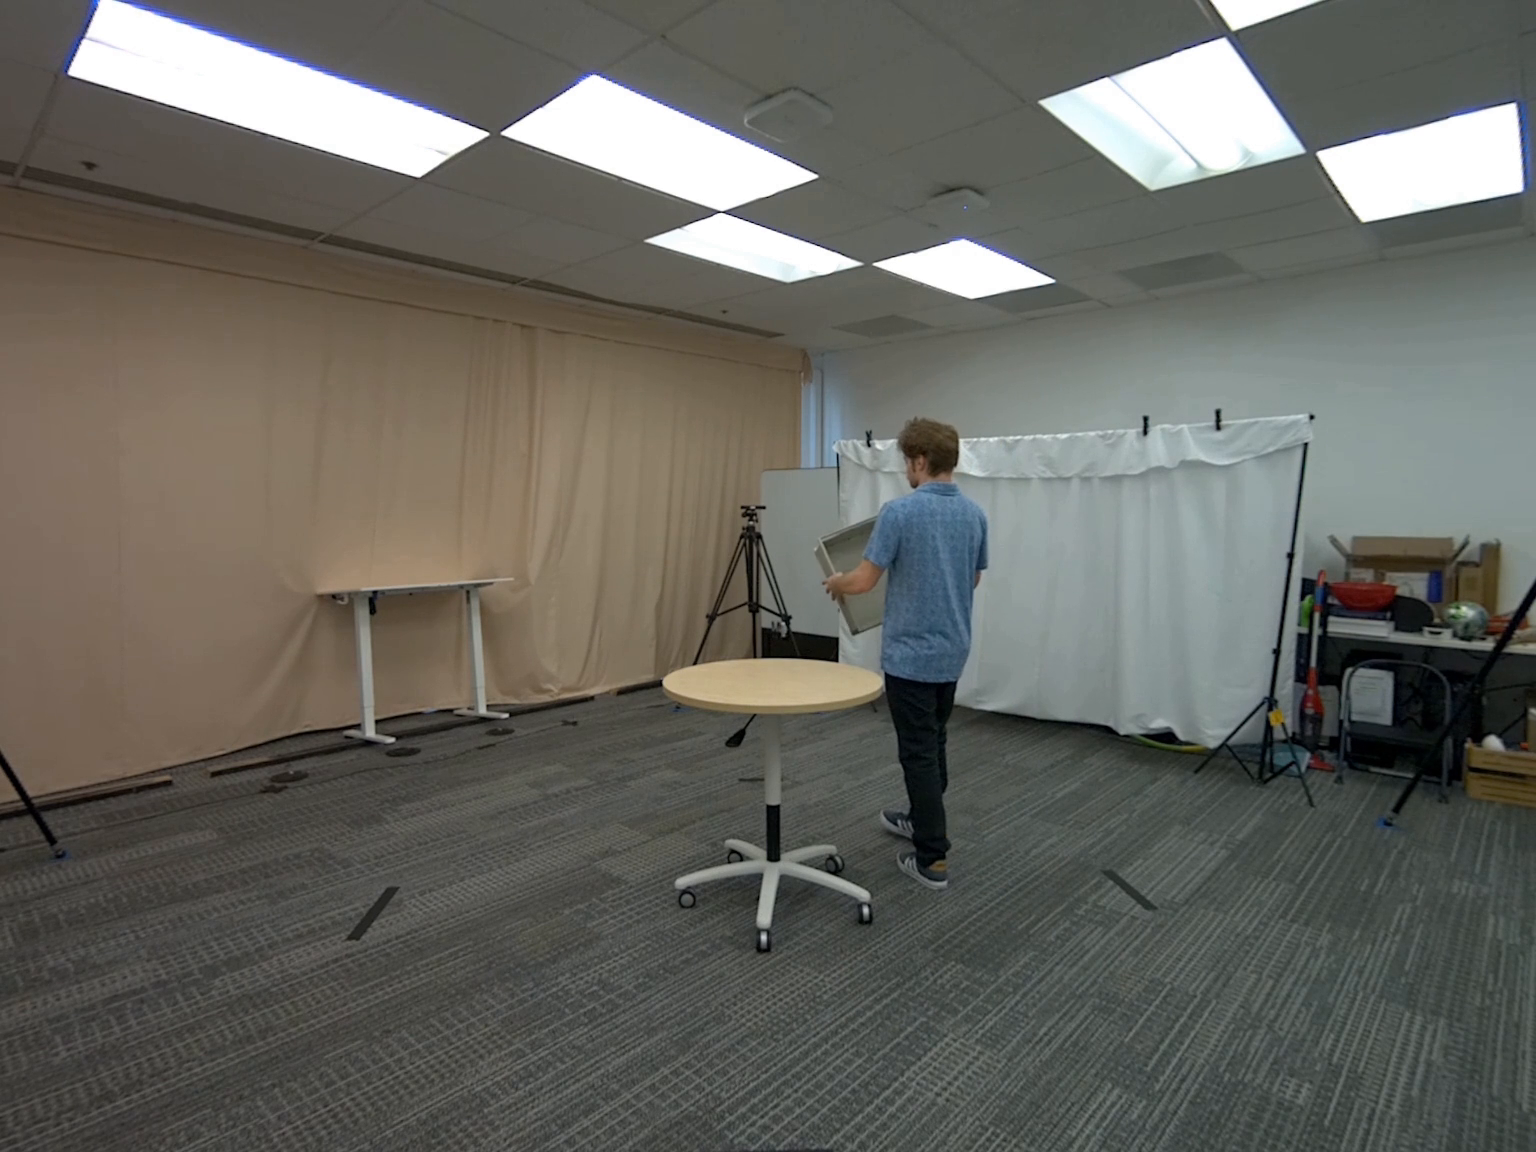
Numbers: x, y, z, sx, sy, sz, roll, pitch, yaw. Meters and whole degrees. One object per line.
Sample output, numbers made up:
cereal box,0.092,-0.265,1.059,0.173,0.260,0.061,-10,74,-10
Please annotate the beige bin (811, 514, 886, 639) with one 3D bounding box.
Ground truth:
beige bin,0.455,-0.017,3.579,0.374,0.428,0.188,-22,-13,-9
